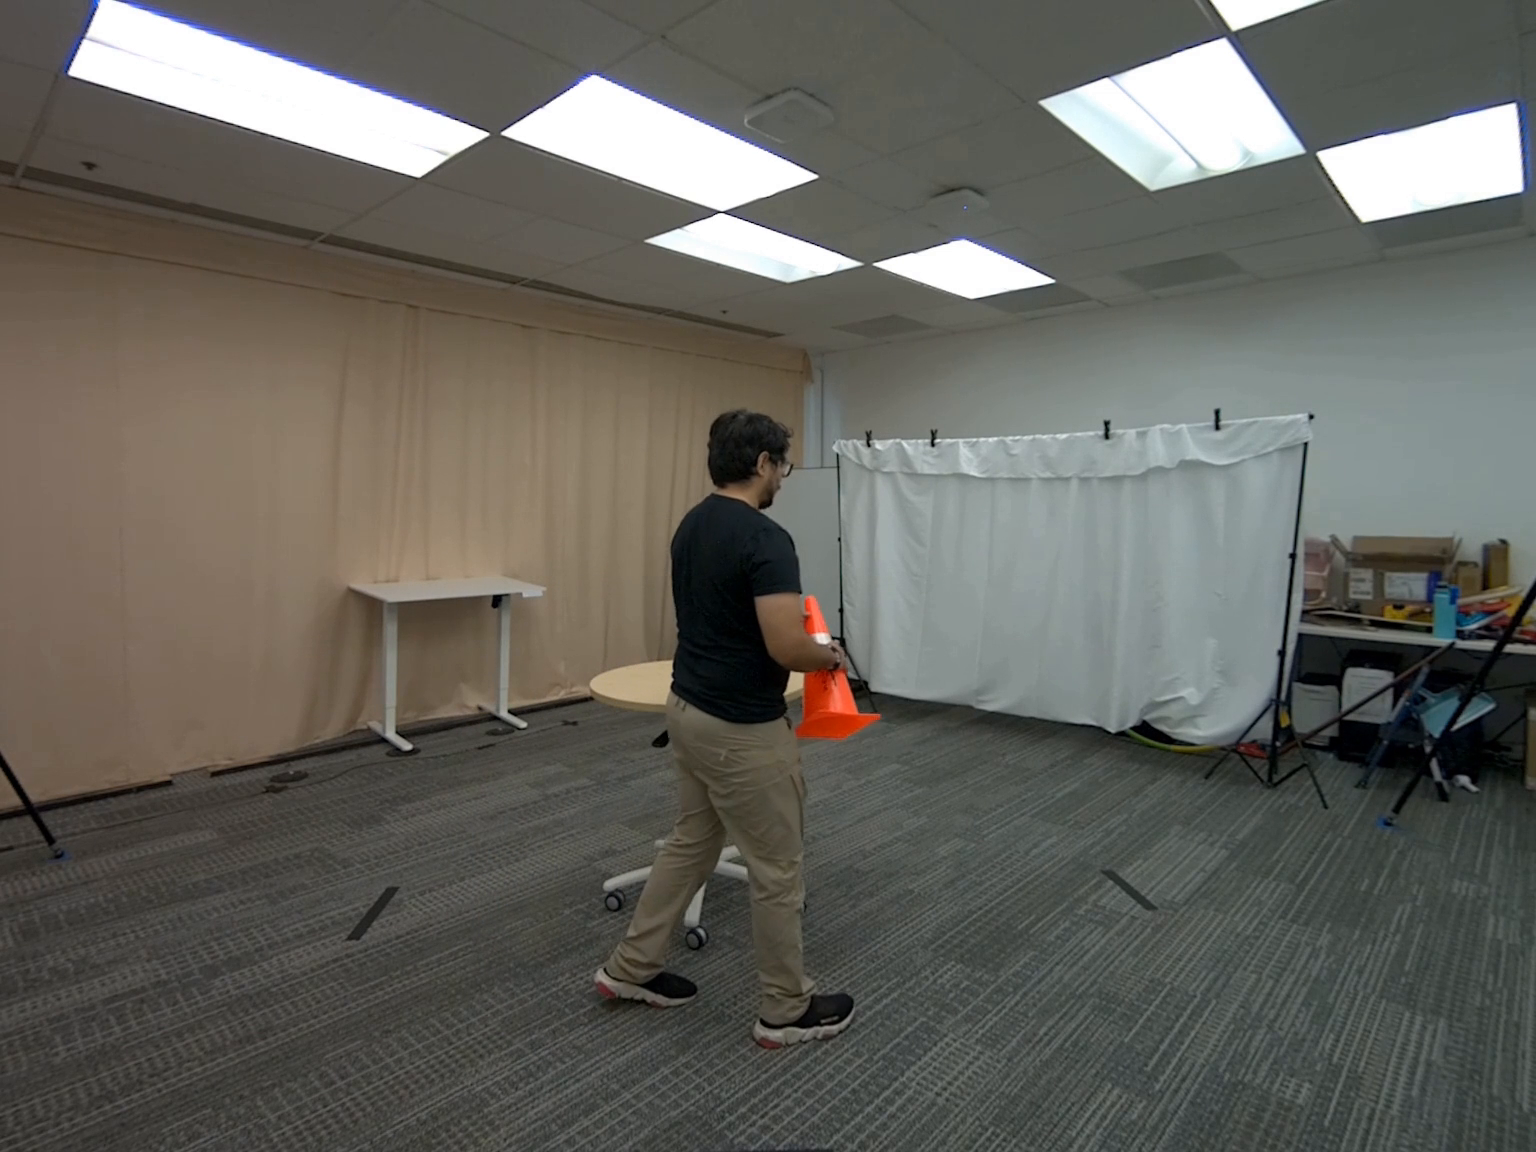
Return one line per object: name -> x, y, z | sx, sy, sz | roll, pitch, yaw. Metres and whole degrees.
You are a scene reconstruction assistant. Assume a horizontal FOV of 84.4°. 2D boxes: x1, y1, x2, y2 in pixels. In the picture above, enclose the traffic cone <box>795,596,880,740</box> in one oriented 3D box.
traffic cone -> 0.154, 0.238, 2.325 | 0.200, 0.390, 0.205 | 7, -29, -24
